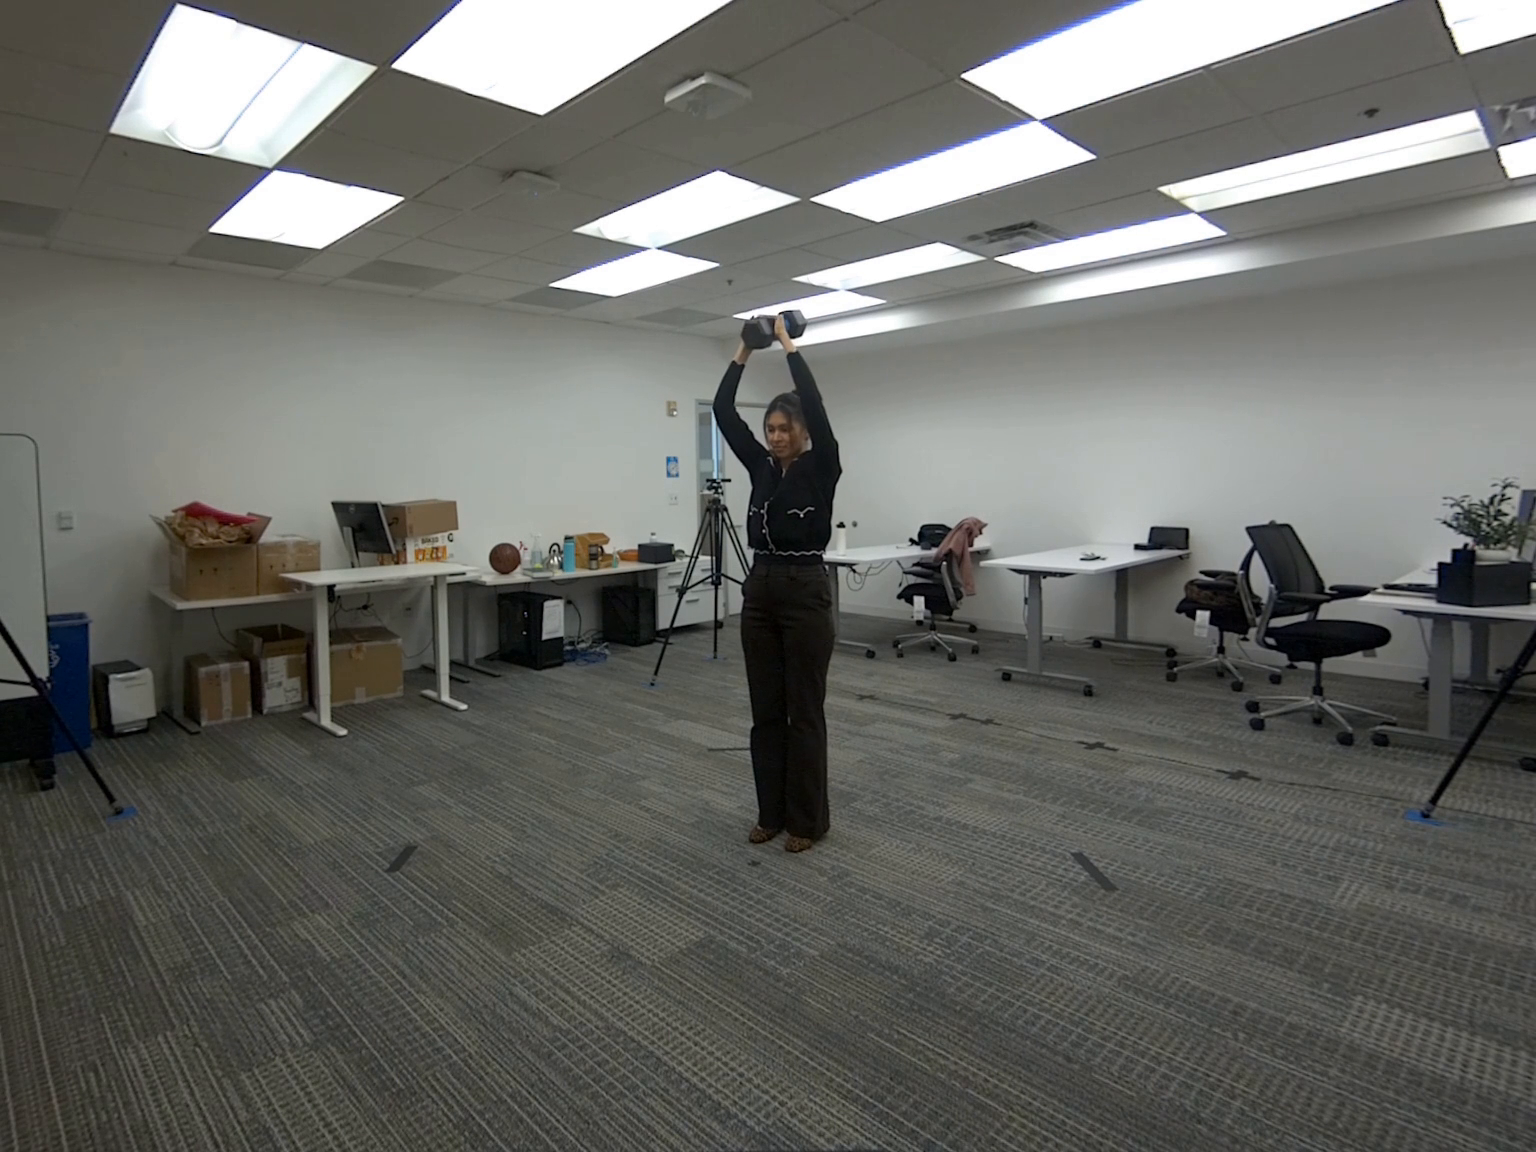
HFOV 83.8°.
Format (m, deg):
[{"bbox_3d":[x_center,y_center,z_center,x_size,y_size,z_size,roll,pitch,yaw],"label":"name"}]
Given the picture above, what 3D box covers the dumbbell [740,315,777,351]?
[{"bbox_3d":[0.029,-0.929,3.208,0.110,0.123,0.290,-25,5,43],"label":"dumbbell"}]
